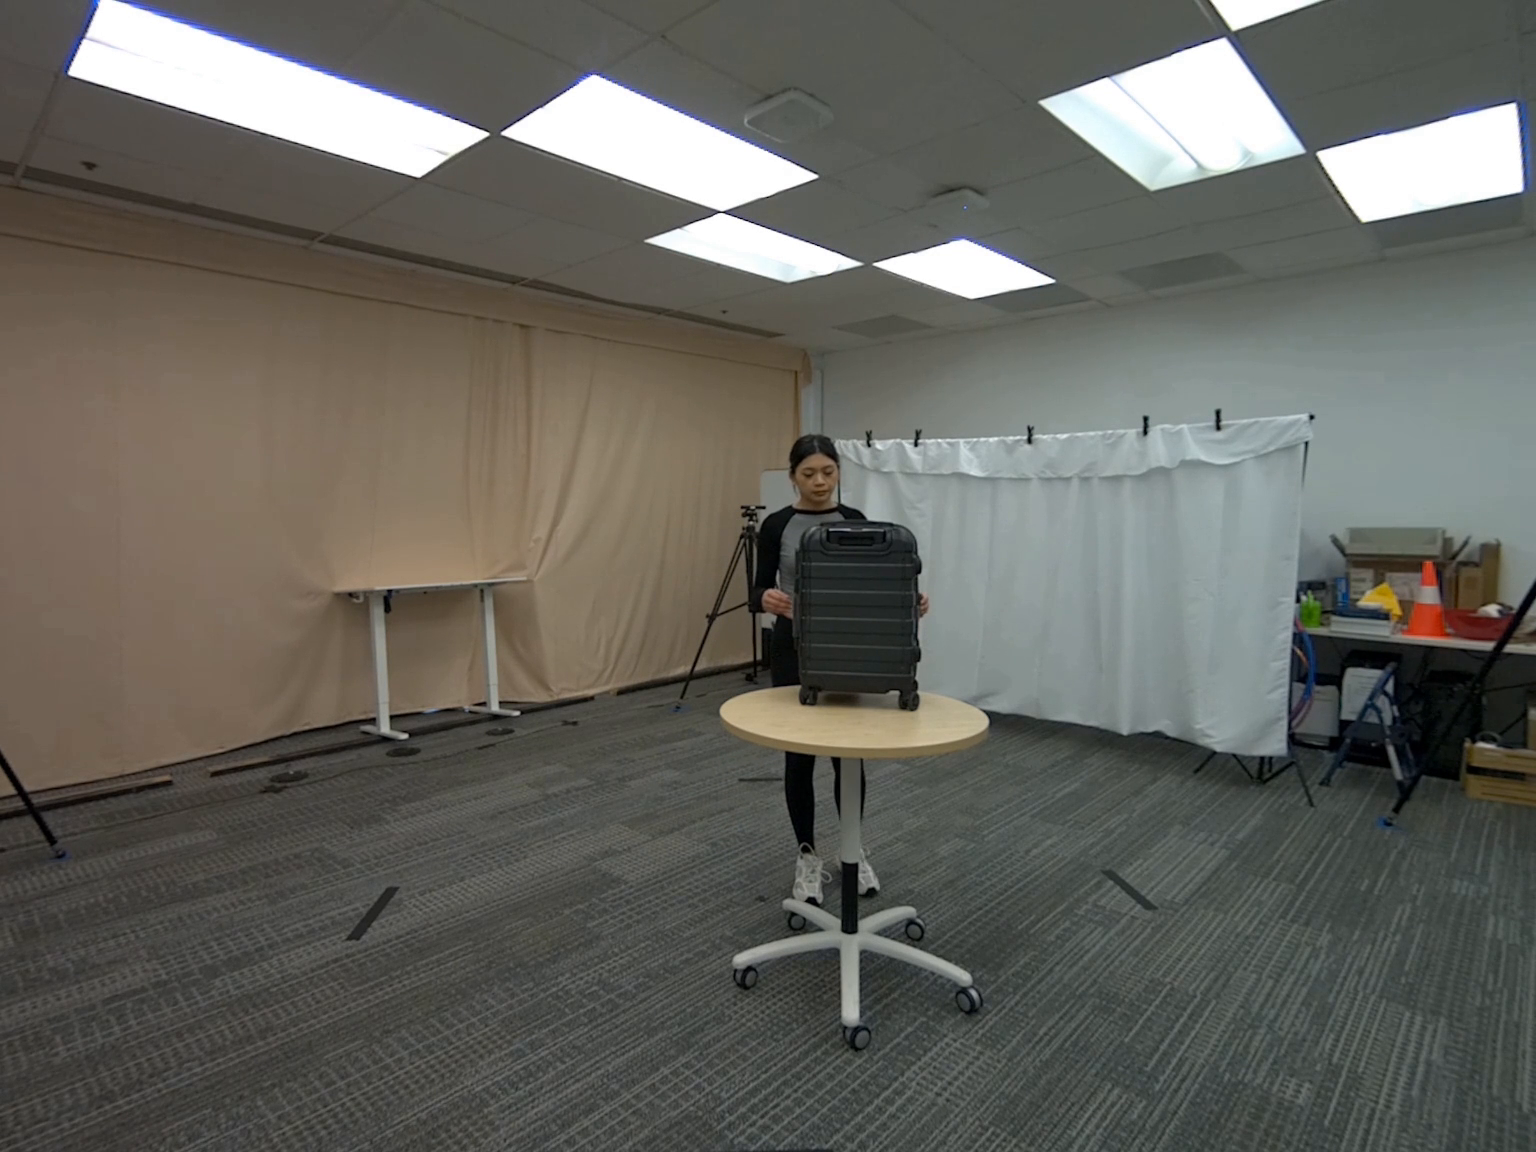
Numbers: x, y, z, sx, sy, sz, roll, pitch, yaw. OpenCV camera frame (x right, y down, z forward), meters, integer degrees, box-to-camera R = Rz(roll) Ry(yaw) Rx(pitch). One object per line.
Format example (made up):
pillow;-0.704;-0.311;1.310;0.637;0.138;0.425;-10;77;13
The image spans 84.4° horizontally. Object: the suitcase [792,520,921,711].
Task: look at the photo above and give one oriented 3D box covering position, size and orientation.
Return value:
suitcase;0.273;0.106;2.585;0.380;0.548;0.245;0;3;12
